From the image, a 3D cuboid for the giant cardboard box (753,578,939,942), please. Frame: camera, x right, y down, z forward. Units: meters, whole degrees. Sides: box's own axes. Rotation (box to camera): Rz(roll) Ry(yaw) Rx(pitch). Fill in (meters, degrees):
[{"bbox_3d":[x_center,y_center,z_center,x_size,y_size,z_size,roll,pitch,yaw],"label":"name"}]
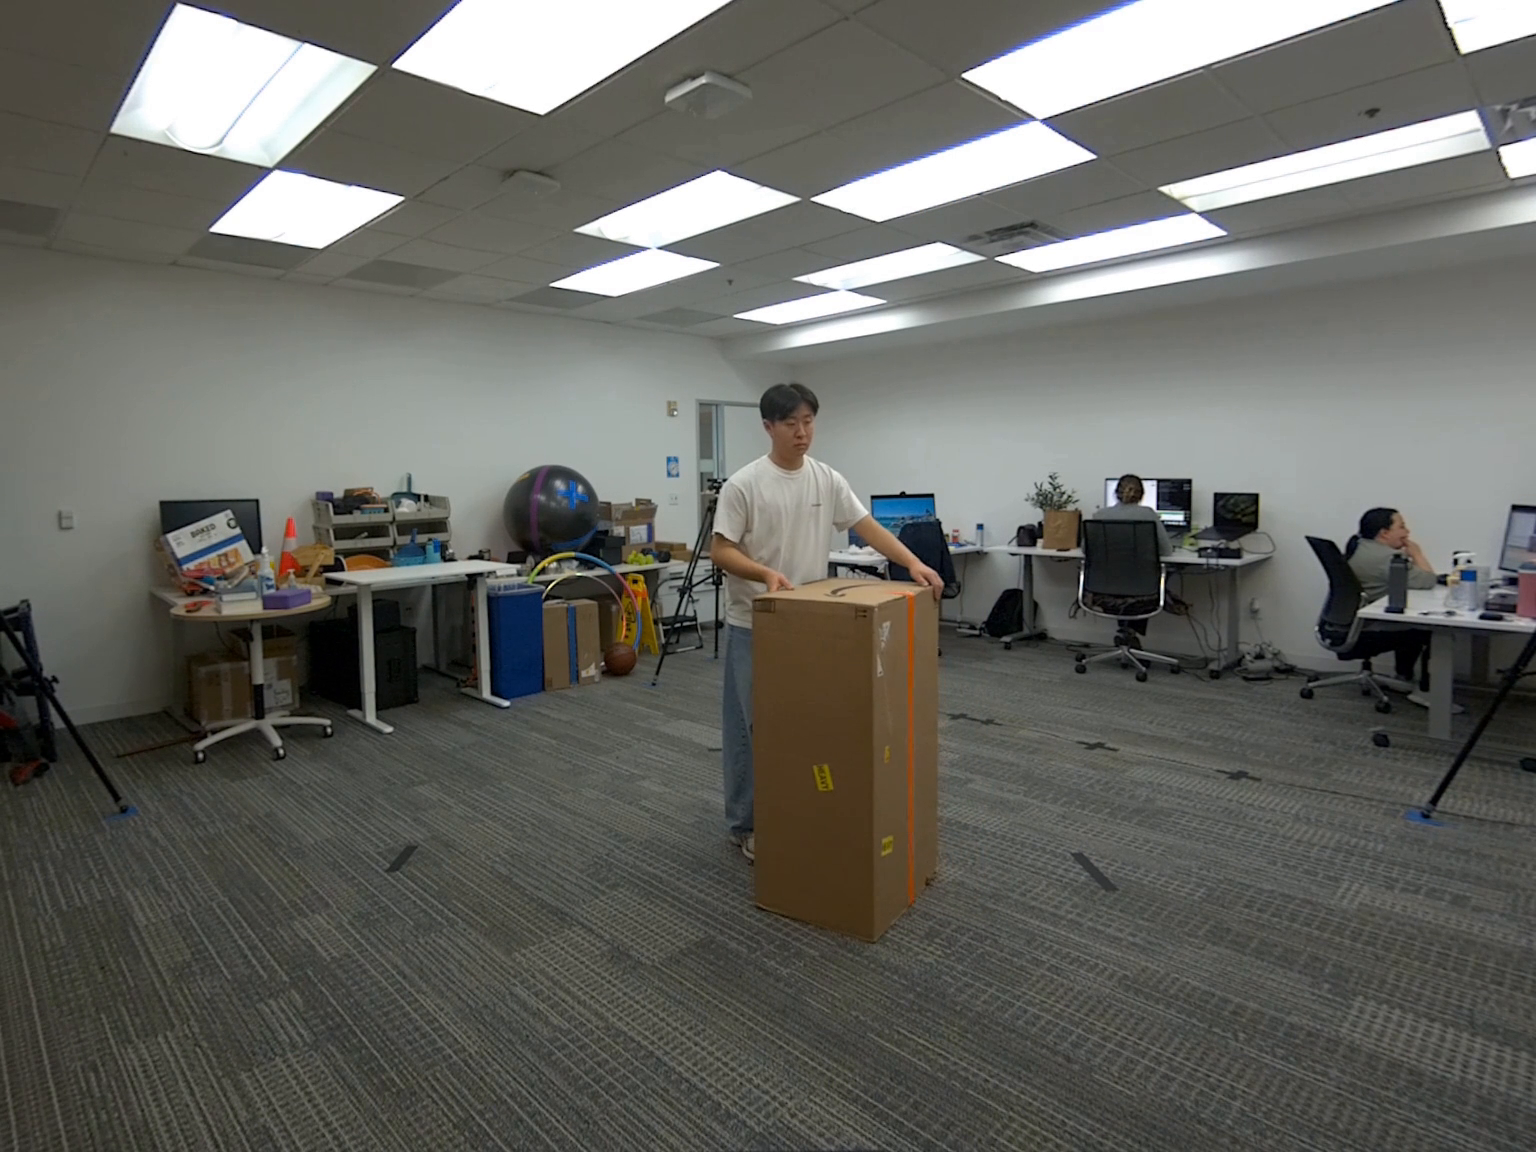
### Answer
[{"bbox_3d":[0.290,0.555,2.866,0.438,1.022,0.564,1,4,32],"label":"giant cardboard box"}]
